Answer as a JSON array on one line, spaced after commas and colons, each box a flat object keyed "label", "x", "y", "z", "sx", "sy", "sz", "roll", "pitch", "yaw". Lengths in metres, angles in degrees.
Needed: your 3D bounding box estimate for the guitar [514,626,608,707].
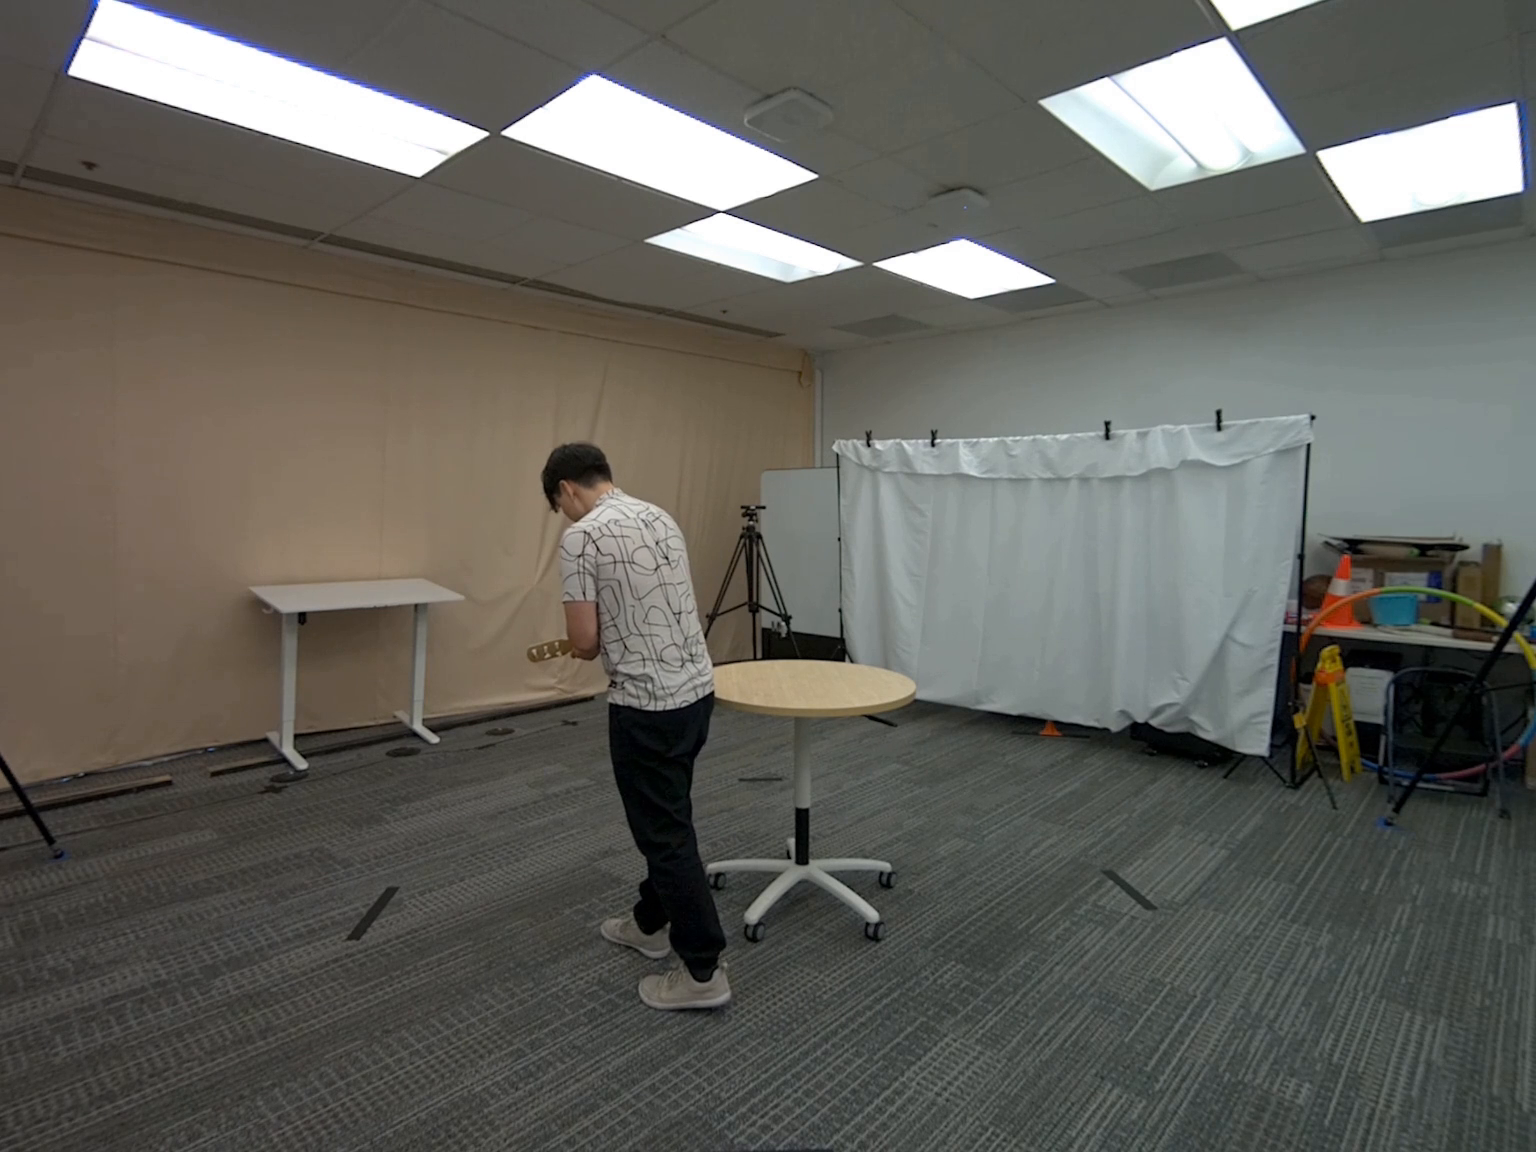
[{"label": "guitar", "x": -0.530, "y": 0.220, "z": 2.685, "sx": 0.497, "sy": 0.191, "sz": 0.071, "roll": -22, "pitch": 8, "yaw": -2}]
